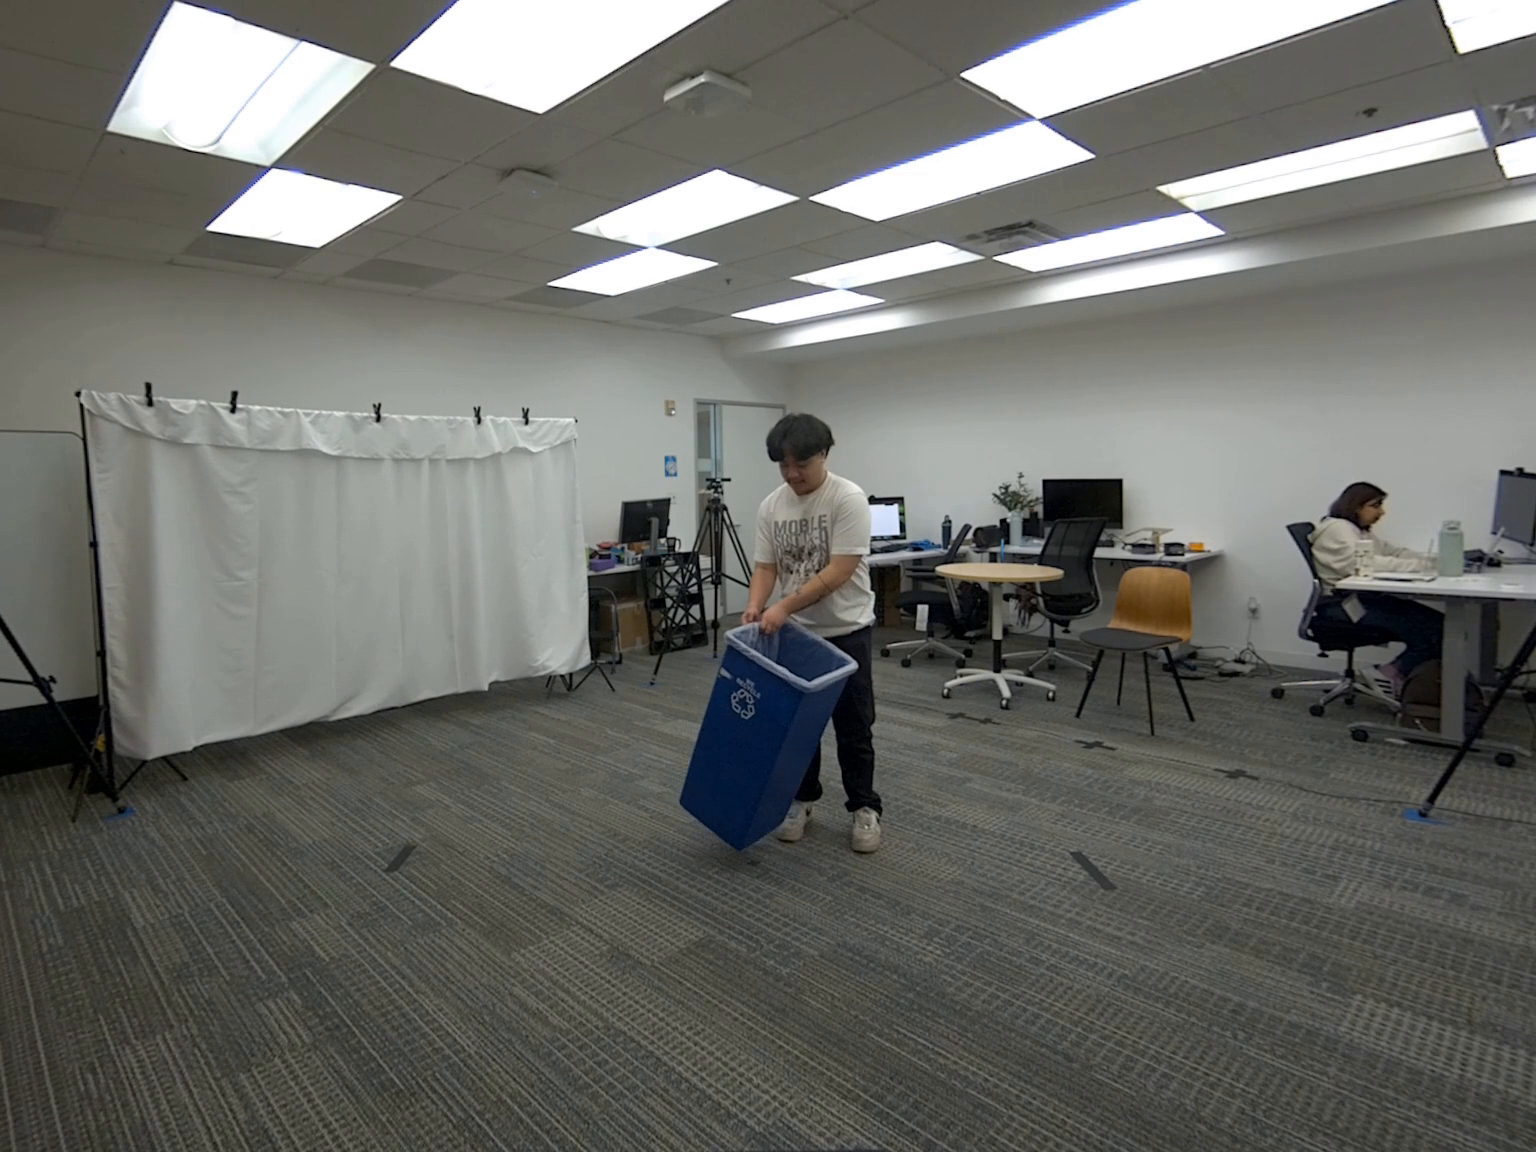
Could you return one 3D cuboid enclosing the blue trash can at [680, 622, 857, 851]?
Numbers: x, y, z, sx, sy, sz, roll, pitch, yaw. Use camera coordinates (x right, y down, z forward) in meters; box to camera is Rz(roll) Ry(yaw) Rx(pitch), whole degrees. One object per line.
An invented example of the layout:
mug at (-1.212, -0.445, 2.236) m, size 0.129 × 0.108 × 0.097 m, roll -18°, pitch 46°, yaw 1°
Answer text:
blue trash can at (-0.019, 0.571, 3.067) m, size 0.387 × 0.706 × 0.369 m, roll 29°, pitch 22°, yaw 29°
